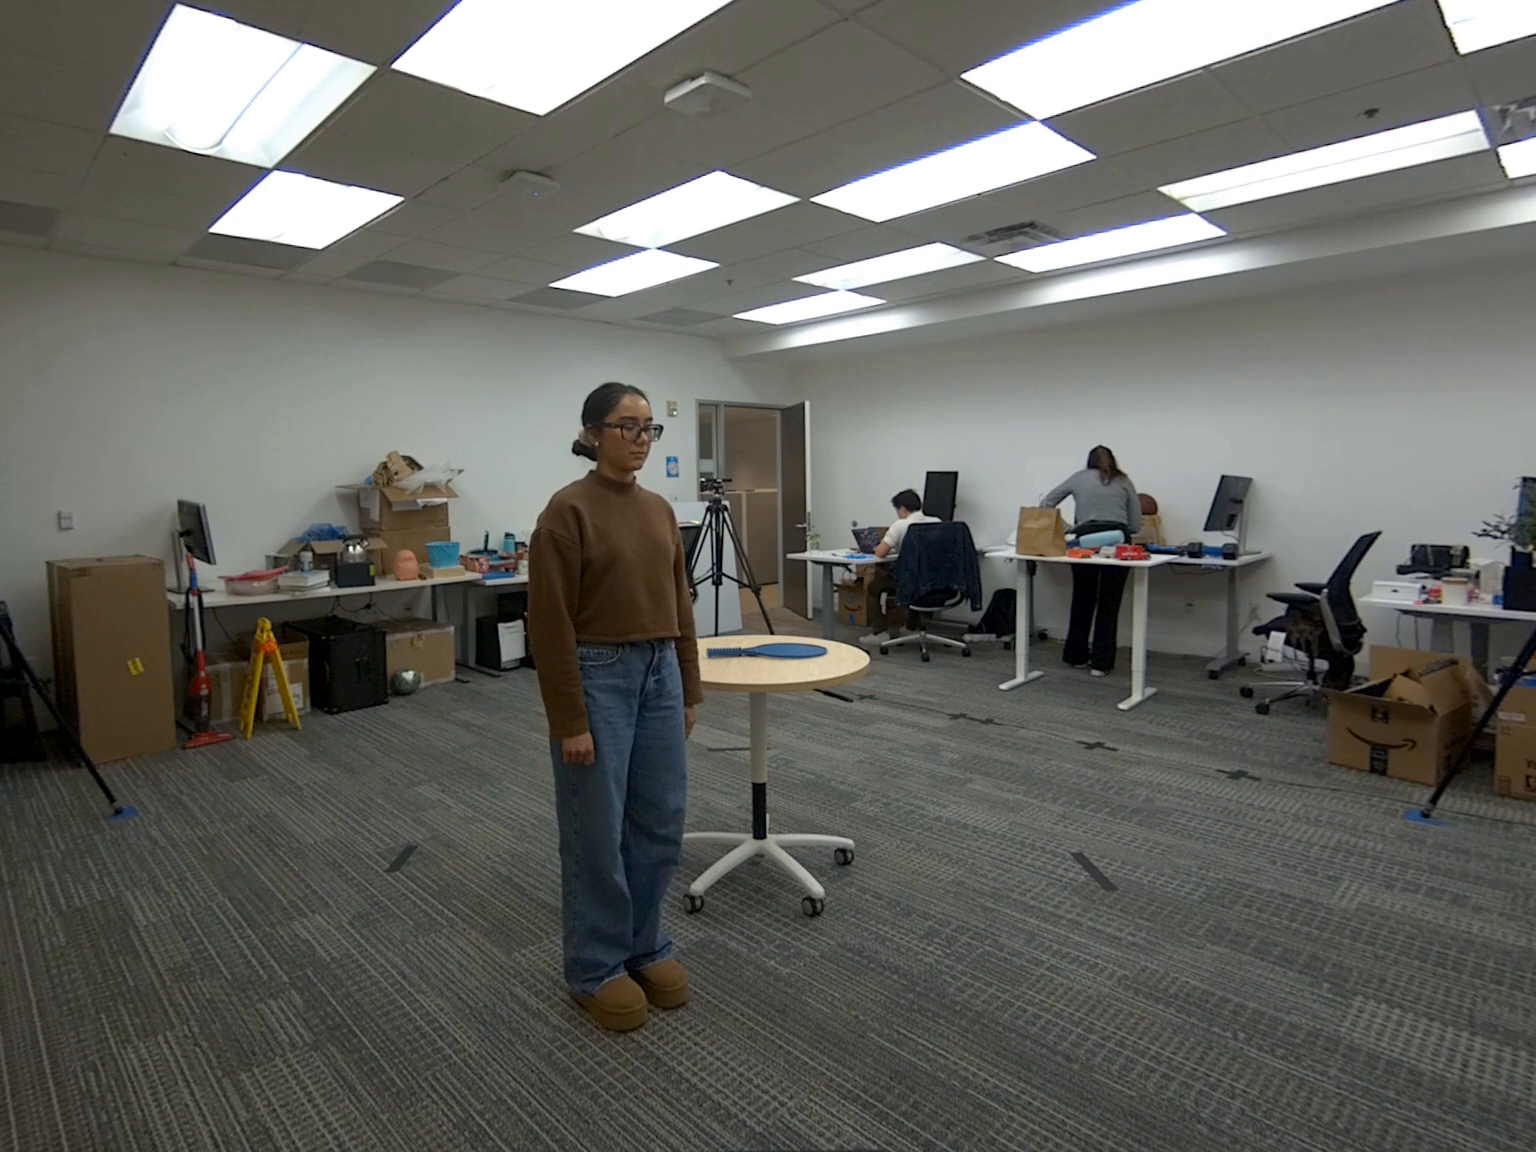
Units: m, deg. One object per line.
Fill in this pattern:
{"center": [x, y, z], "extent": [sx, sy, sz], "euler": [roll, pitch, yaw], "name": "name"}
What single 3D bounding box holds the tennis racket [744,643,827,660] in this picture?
{"center": [0.006, 0.265, 2.985], "extent": [0.428, 0.031, 0.217], "euler": [-1, 7, -11], "name": "tennis racket"}
